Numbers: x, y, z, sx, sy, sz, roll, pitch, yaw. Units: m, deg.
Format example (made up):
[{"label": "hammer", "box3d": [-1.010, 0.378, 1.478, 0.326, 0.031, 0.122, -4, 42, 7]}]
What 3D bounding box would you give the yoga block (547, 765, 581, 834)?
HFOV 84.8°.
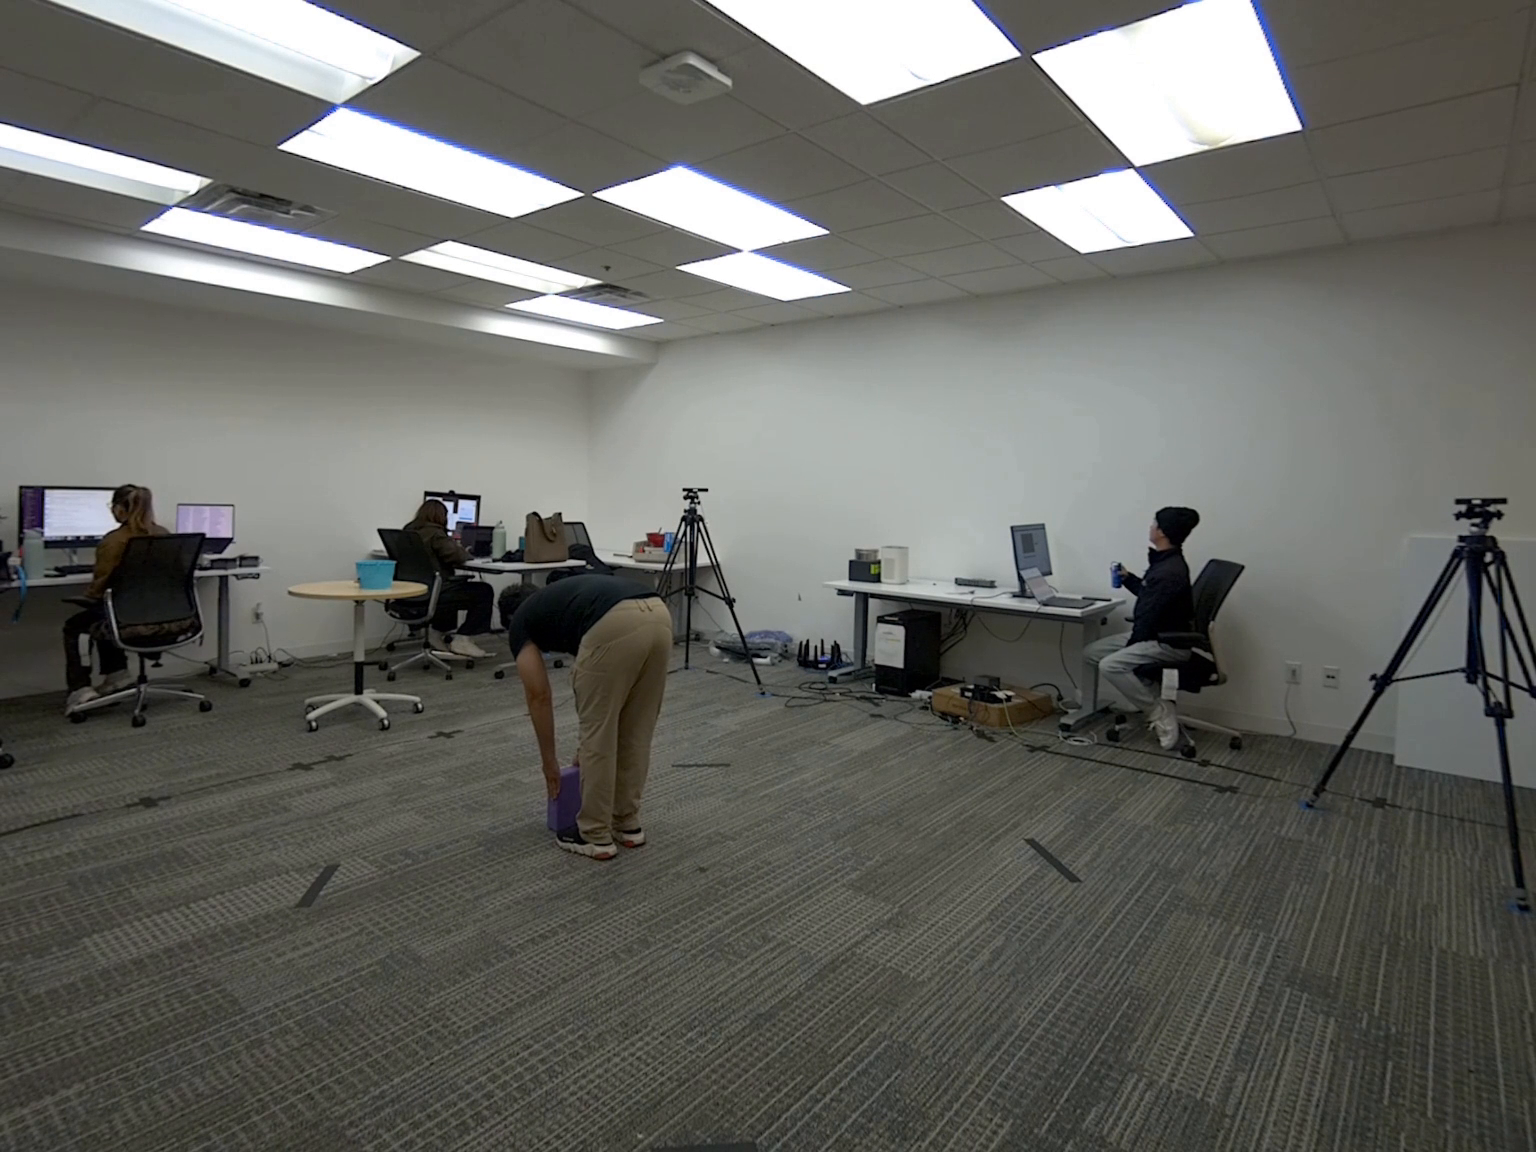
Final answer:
[{"label": "yoga block", "box3d": [-0.840, 0.912, 3.486, 0.079, 0.229, 0.144, 1, 4, 41]}]
